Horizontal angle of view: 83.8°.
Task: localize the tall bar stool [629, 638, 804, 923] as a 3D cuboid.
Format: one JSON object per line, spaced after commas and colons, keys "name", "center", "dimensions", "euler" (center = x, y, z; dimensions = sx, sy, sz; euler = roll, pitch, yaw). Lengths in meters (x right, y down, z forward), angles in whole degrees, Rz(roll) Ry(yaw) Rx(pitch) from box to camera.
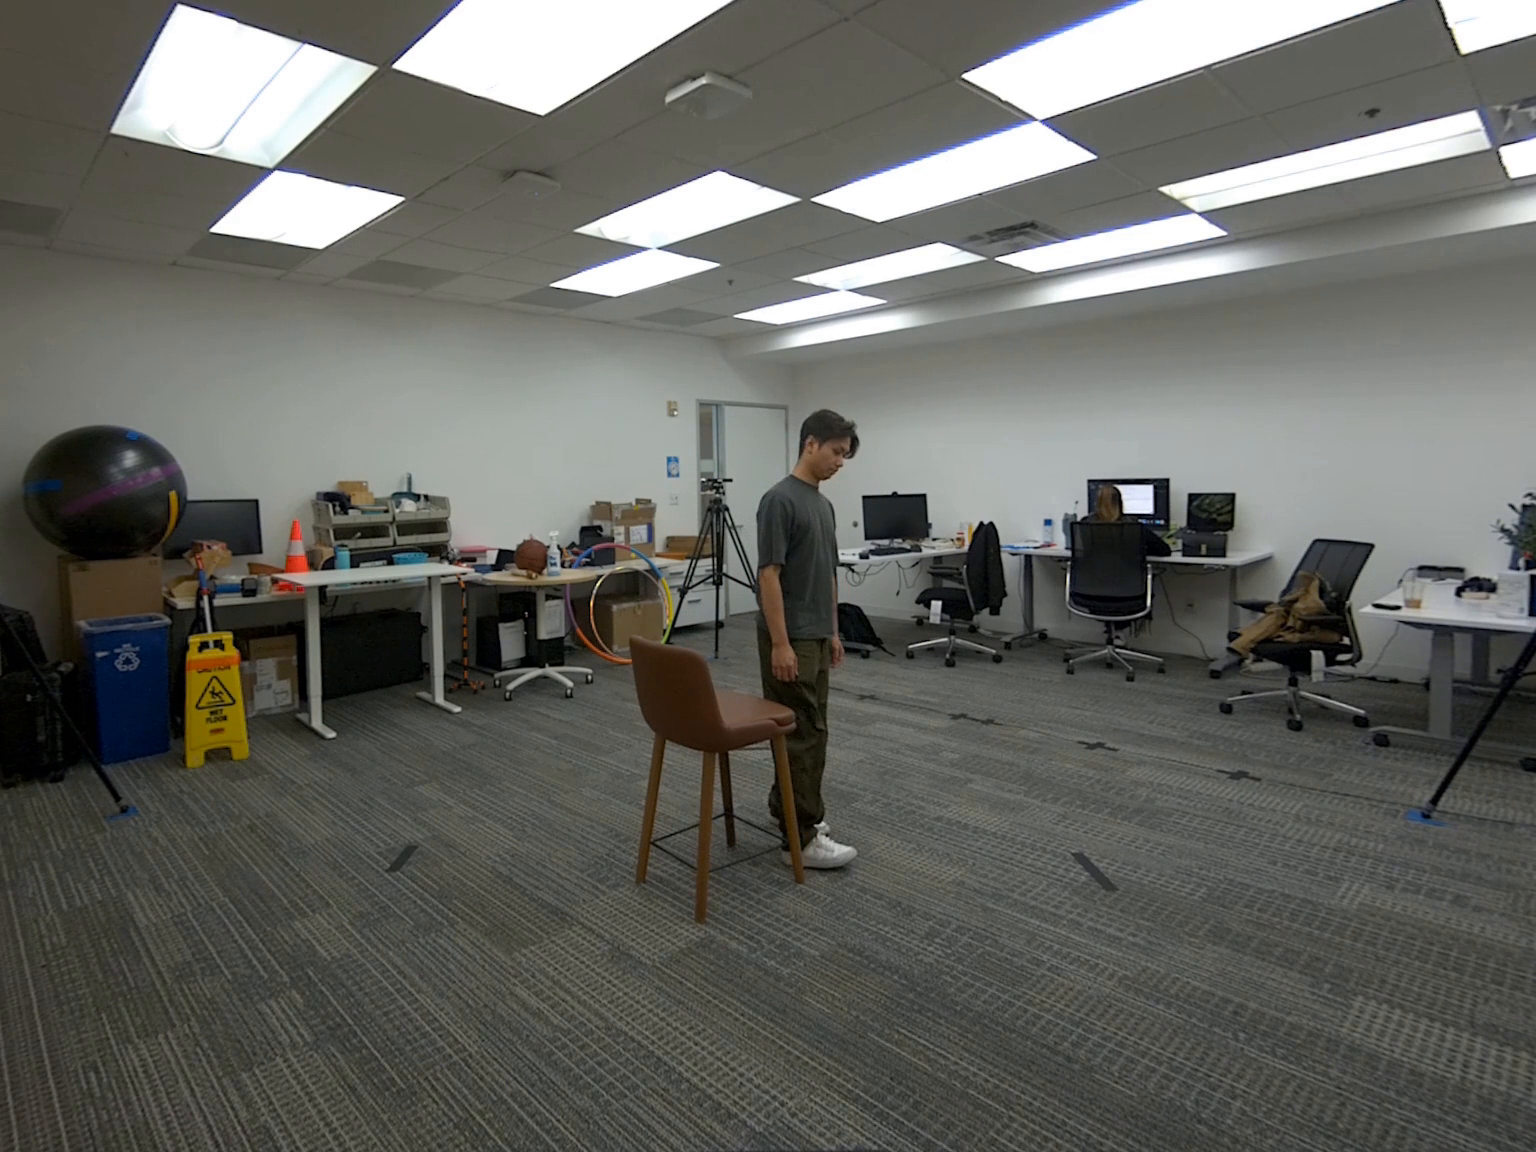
{"name": "tall bar stool", "center": [-0.184, 0.629, 2.940], "dimensions": [0.456, 0.885, 0.470], "euler": [-7, 7, -40]}
